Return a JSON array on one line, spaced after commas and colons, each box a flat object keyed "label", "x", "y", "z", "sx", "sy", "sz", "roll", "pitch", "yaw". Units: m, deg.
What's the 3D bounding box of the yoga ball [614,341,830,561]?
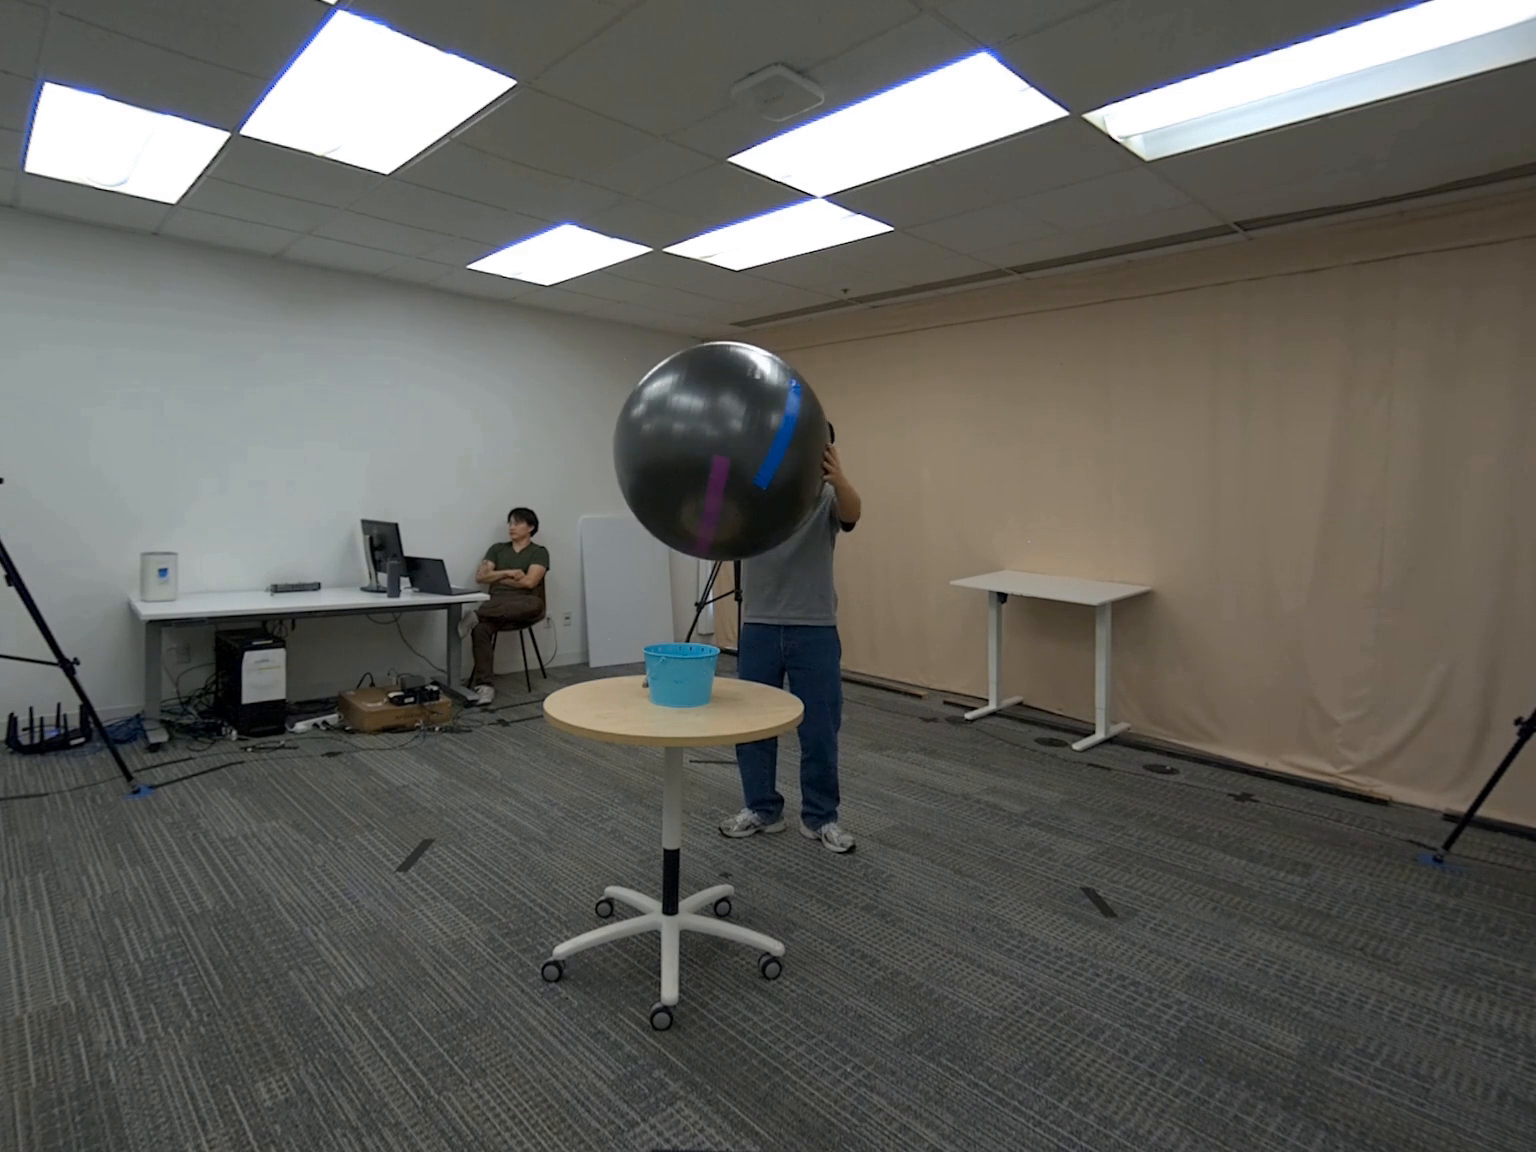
[{"label": "yoga ball", "x": -0.159, "y": -0.425, "z": 2.962, "sx": 0.757, "sy": 0.756, "sz": 0.761, "roll": 1, "pitch": 4, "yaw": -1}]
